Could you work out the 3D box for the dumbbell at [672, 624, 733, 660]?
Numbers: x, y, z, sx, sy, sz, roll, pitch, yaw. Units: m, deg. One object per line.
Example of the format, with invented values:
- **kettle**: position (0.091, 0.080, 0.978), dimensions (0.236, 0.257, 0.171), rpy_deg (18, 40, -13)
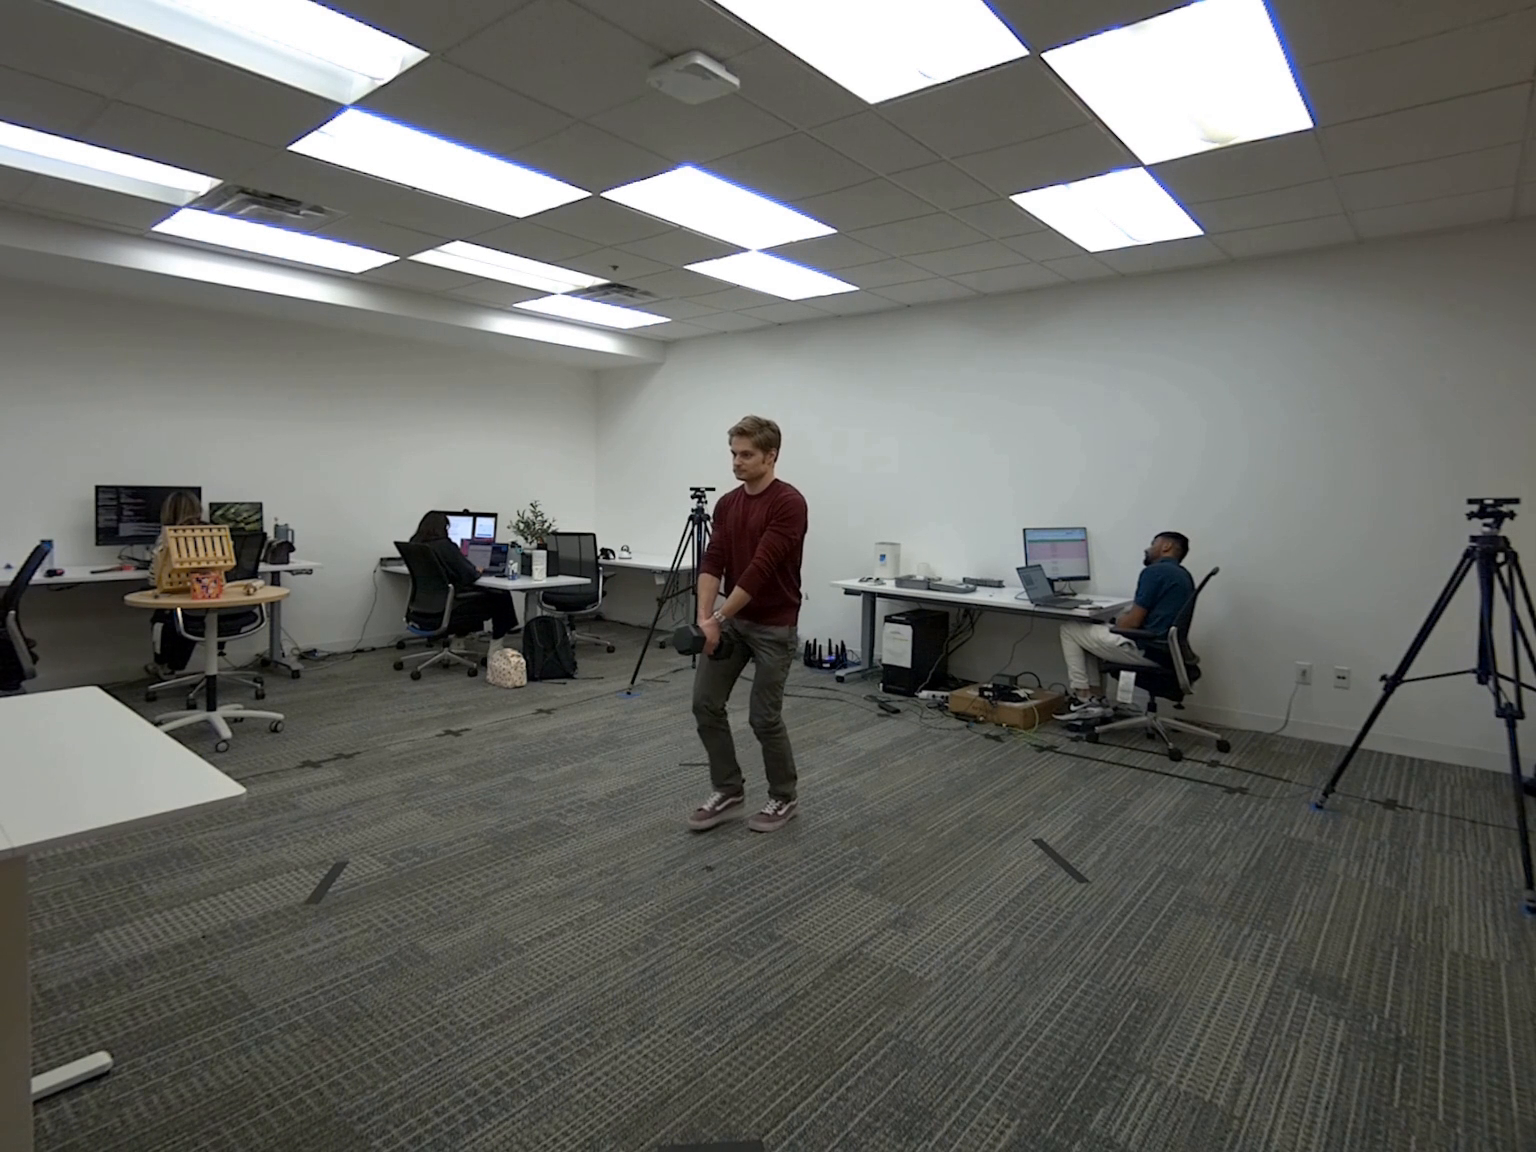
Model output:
- **dumbbell**: position (-0.261, 0.260, 3.260), dimensions (0.127, 0.109, 0.283), rpy_deg (52, 15, 28)
